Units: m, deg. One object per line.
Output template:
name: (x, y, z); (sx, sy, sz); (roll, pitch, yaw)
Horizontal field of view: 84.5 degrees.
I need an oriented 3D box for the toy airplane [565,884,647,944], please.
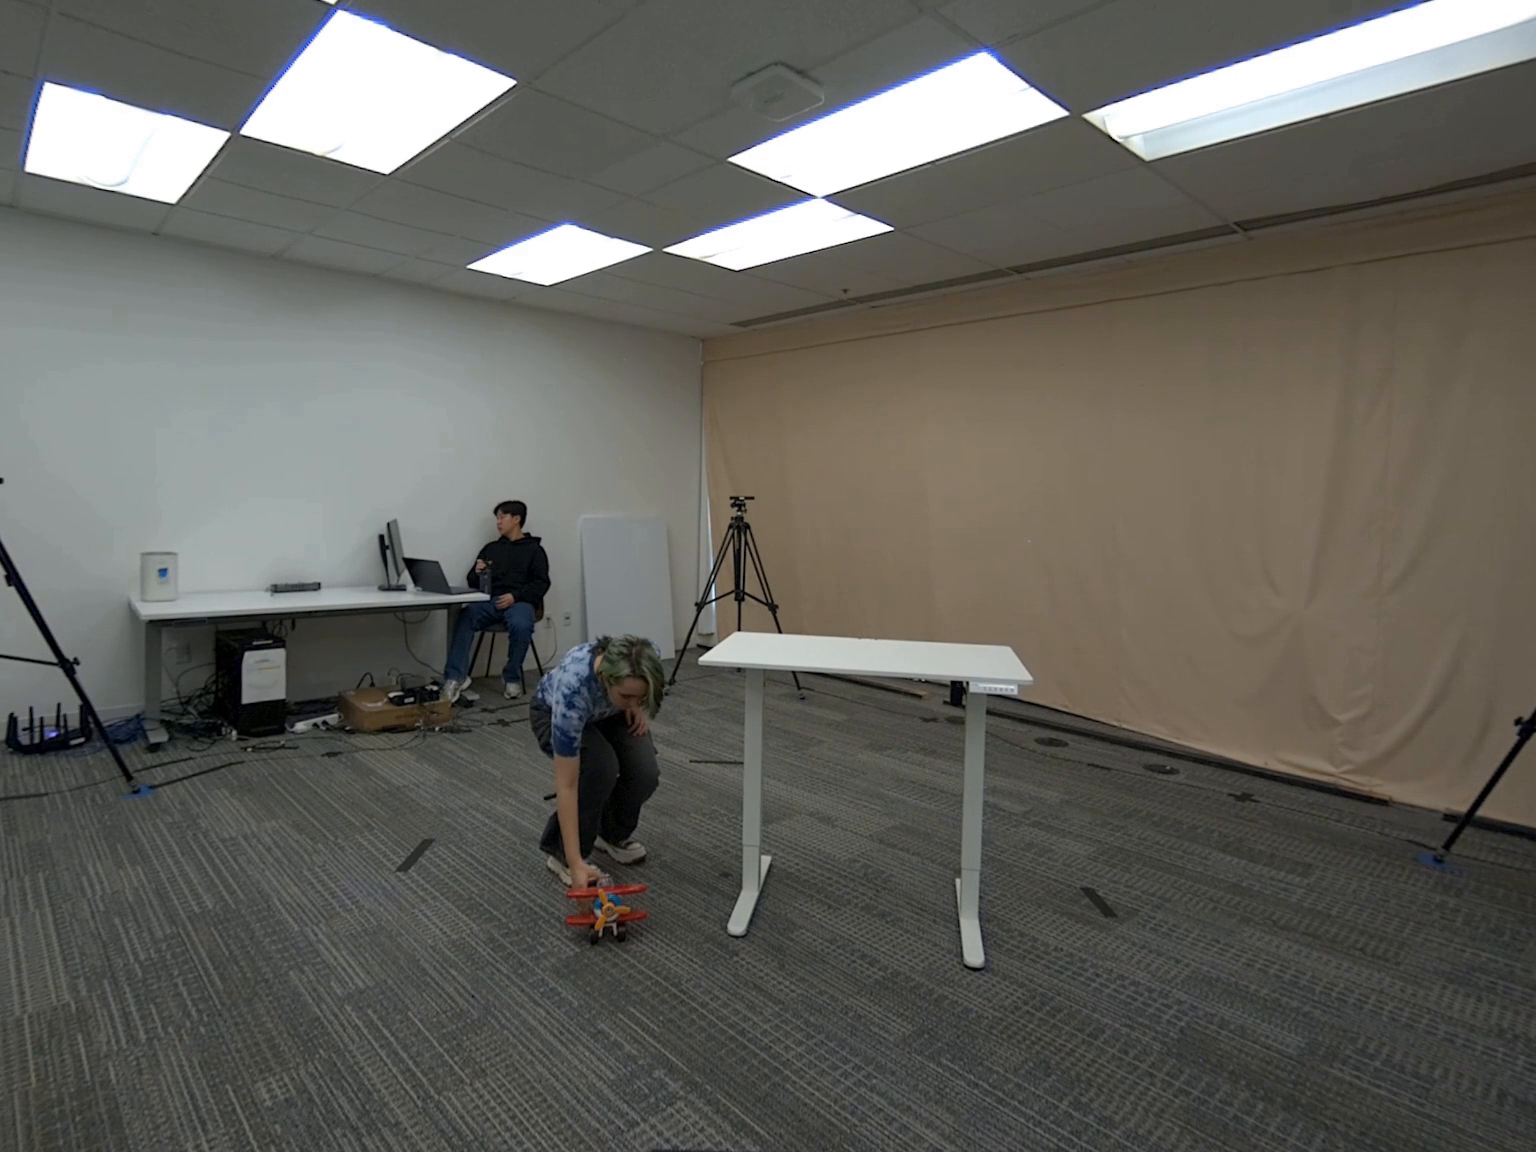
toy airplane: (-0.548, 1.064, 2.692); (0.245, 0.156, 0.266); (-3, 7, -41)
